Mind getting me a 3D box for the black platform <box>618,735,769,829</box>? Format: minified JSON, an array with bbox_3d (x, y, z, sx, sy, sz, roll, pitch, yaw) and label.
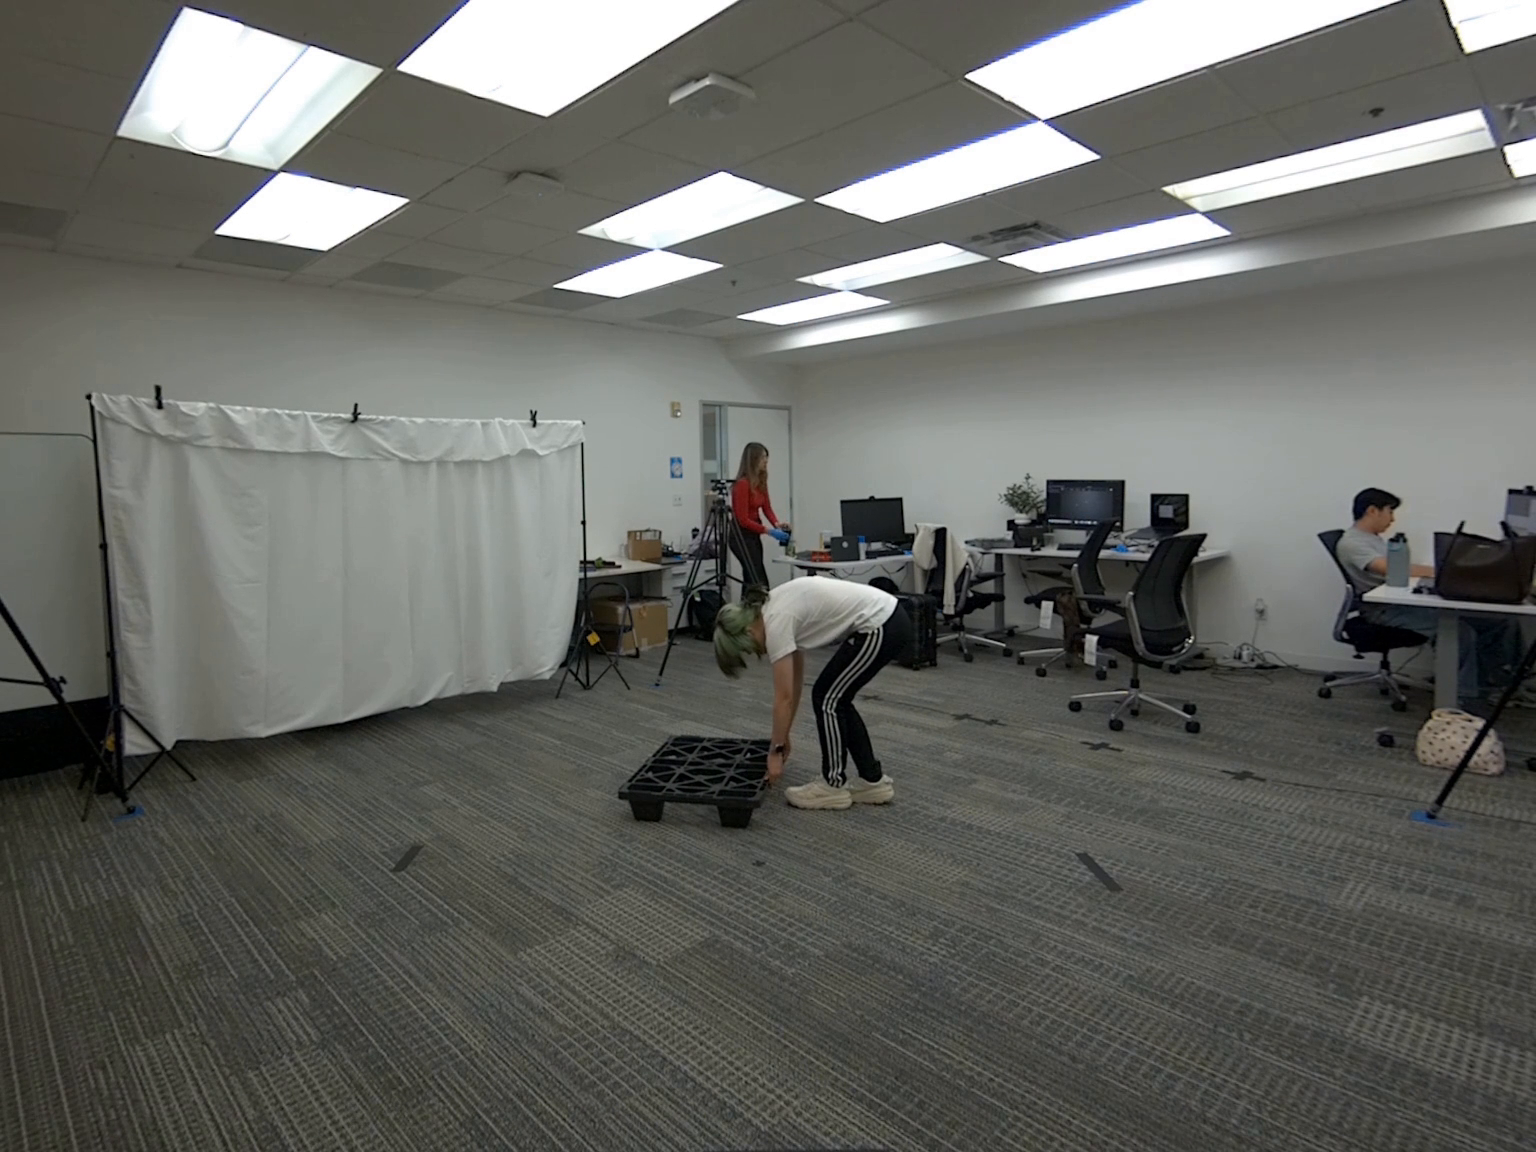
[{"bbox_3d":[-0.259,0.902,3.822,0.612,0.143,0.800,-1,6,11],"label":"black platform"}]
